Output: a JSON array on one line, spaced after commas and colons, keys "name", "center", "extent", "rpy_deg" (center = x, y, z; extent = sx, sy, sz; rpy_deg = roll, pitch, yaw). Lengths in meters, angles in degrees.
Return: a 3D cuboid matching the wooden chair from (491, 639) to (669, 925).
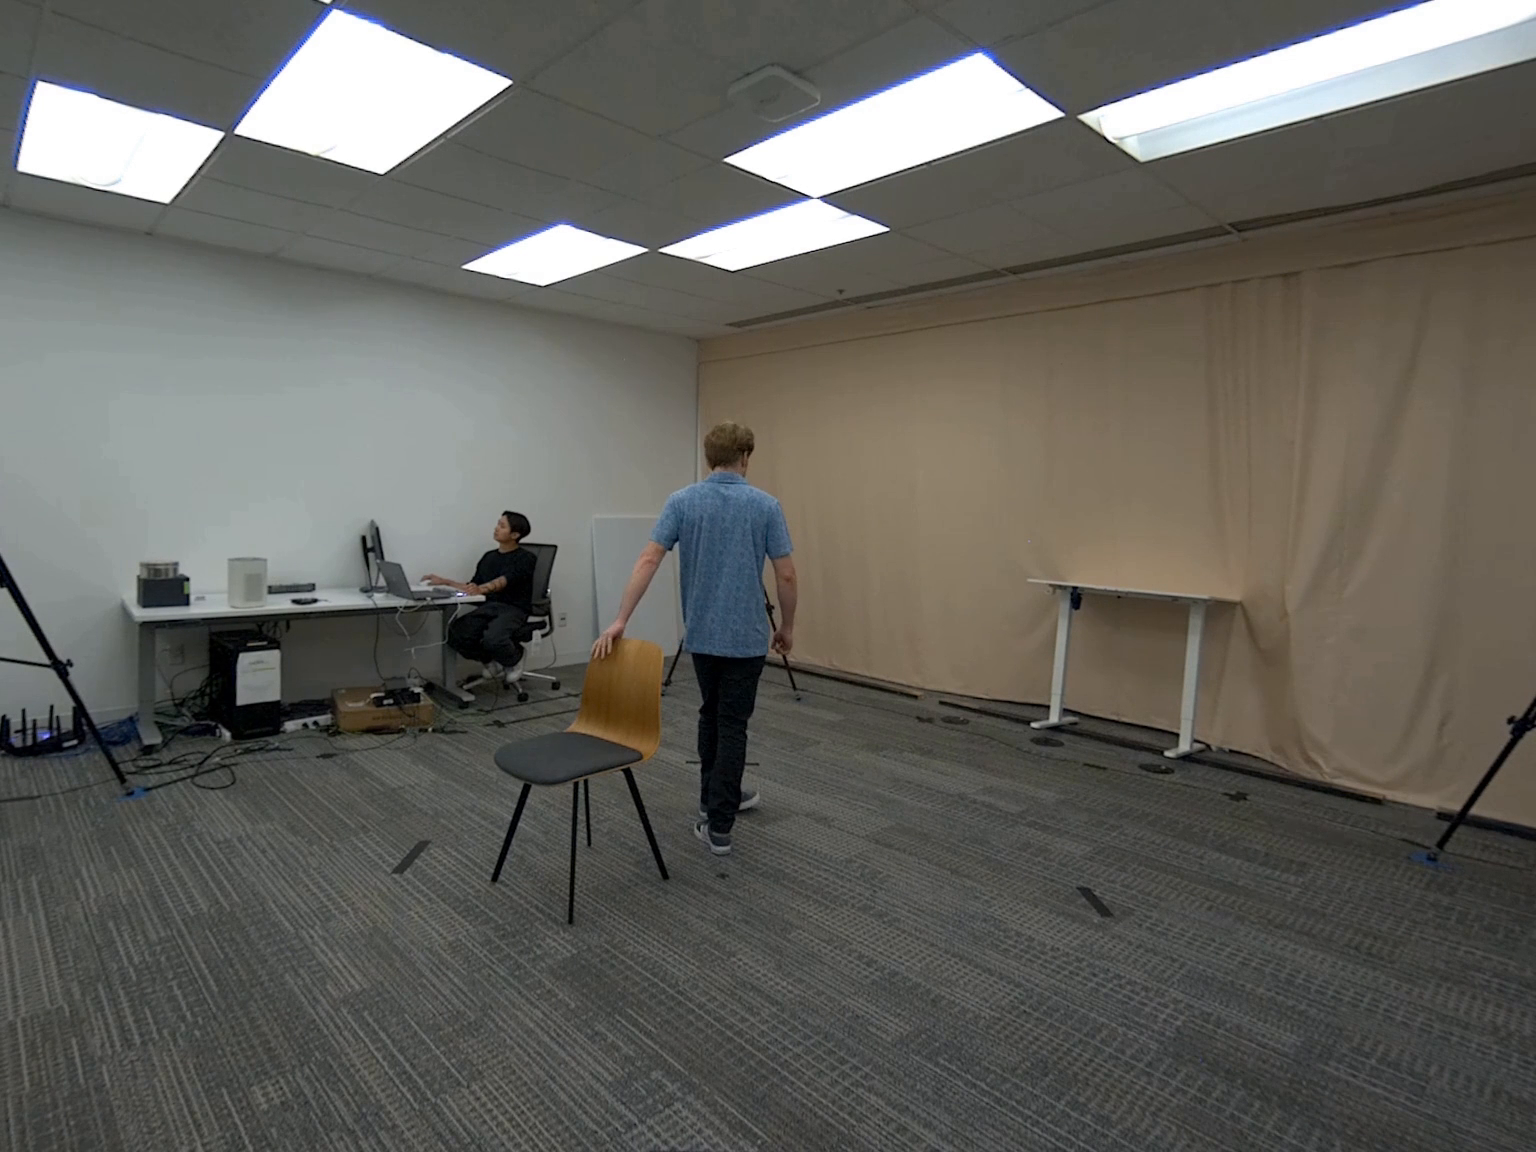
[{"name": "wooden chair", "center": [-0.672, 0.676, 2.998], "extent": [0.490, 0.877, 0.510], "rpy_deg": [5, 0, 40]}]
